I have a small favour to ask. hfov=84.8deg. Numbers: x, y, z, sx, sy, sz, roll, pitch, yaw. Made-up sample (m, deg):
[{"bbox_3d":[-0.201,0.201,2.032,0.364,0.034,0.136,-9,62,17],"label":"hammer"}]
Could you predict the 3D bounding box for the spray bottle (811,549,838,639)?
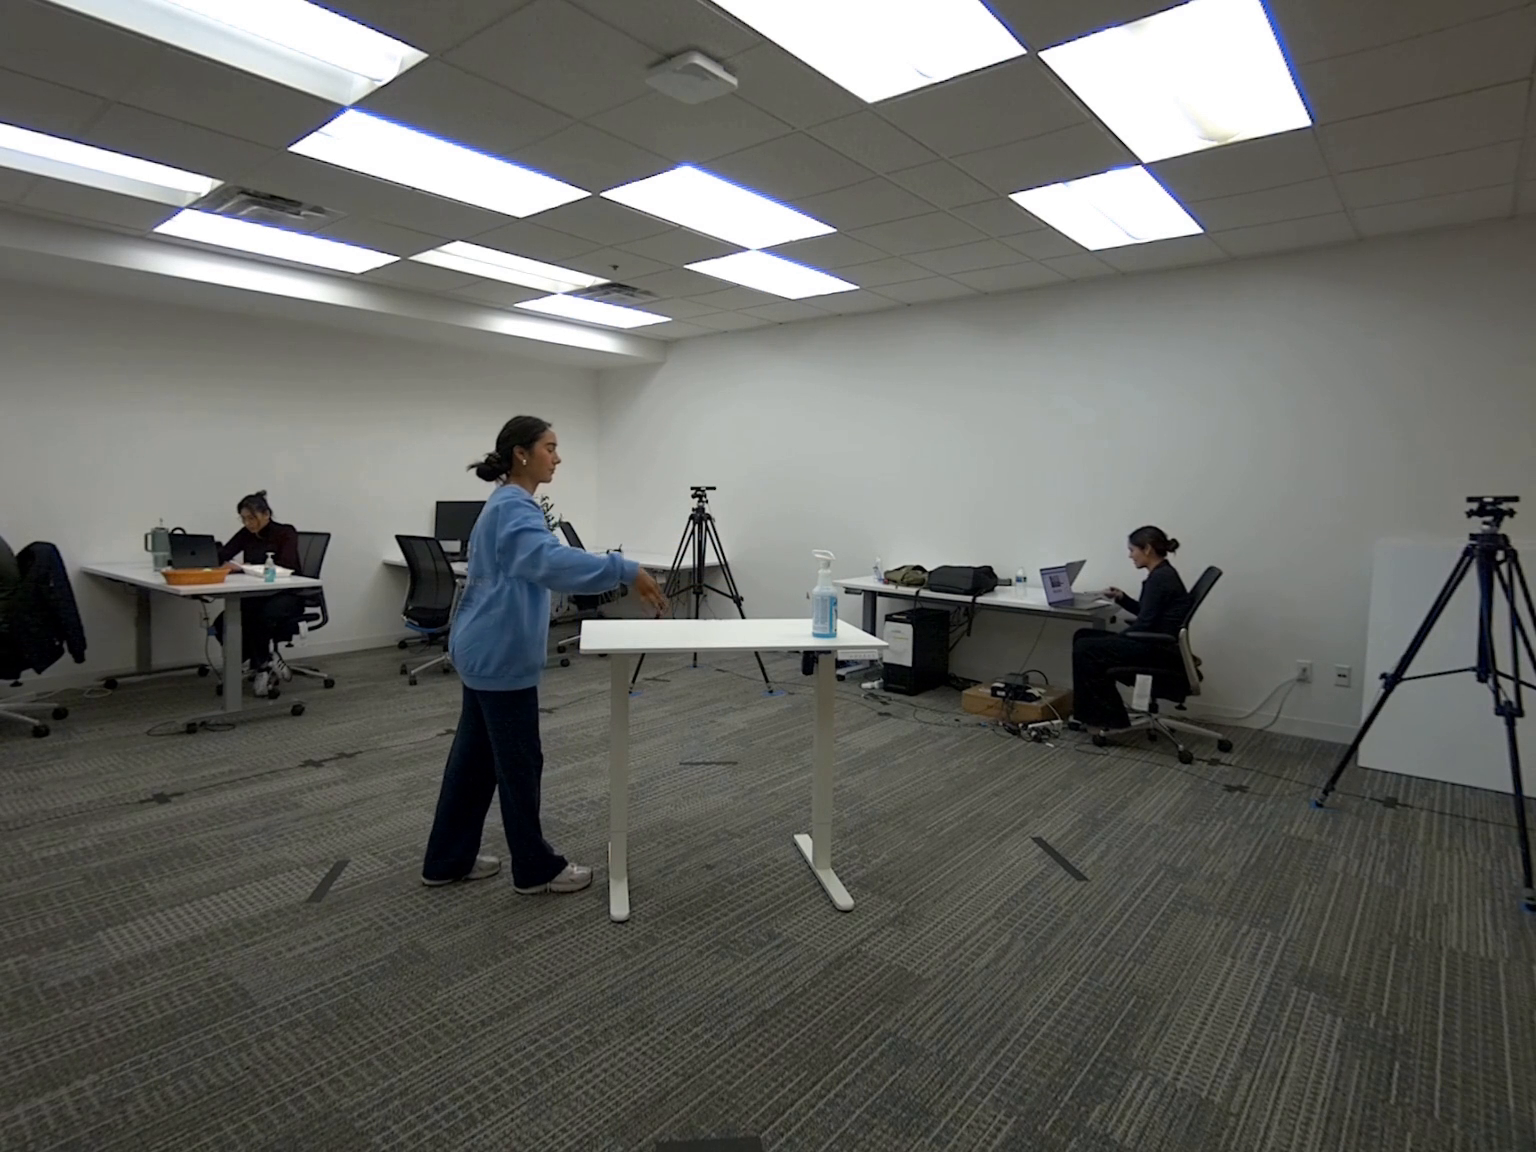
[{"bbox_3d":[0.188,0.062,2.928,0.085,0.297,0.092,0,1,-26],"label":"spray bottle"}]
